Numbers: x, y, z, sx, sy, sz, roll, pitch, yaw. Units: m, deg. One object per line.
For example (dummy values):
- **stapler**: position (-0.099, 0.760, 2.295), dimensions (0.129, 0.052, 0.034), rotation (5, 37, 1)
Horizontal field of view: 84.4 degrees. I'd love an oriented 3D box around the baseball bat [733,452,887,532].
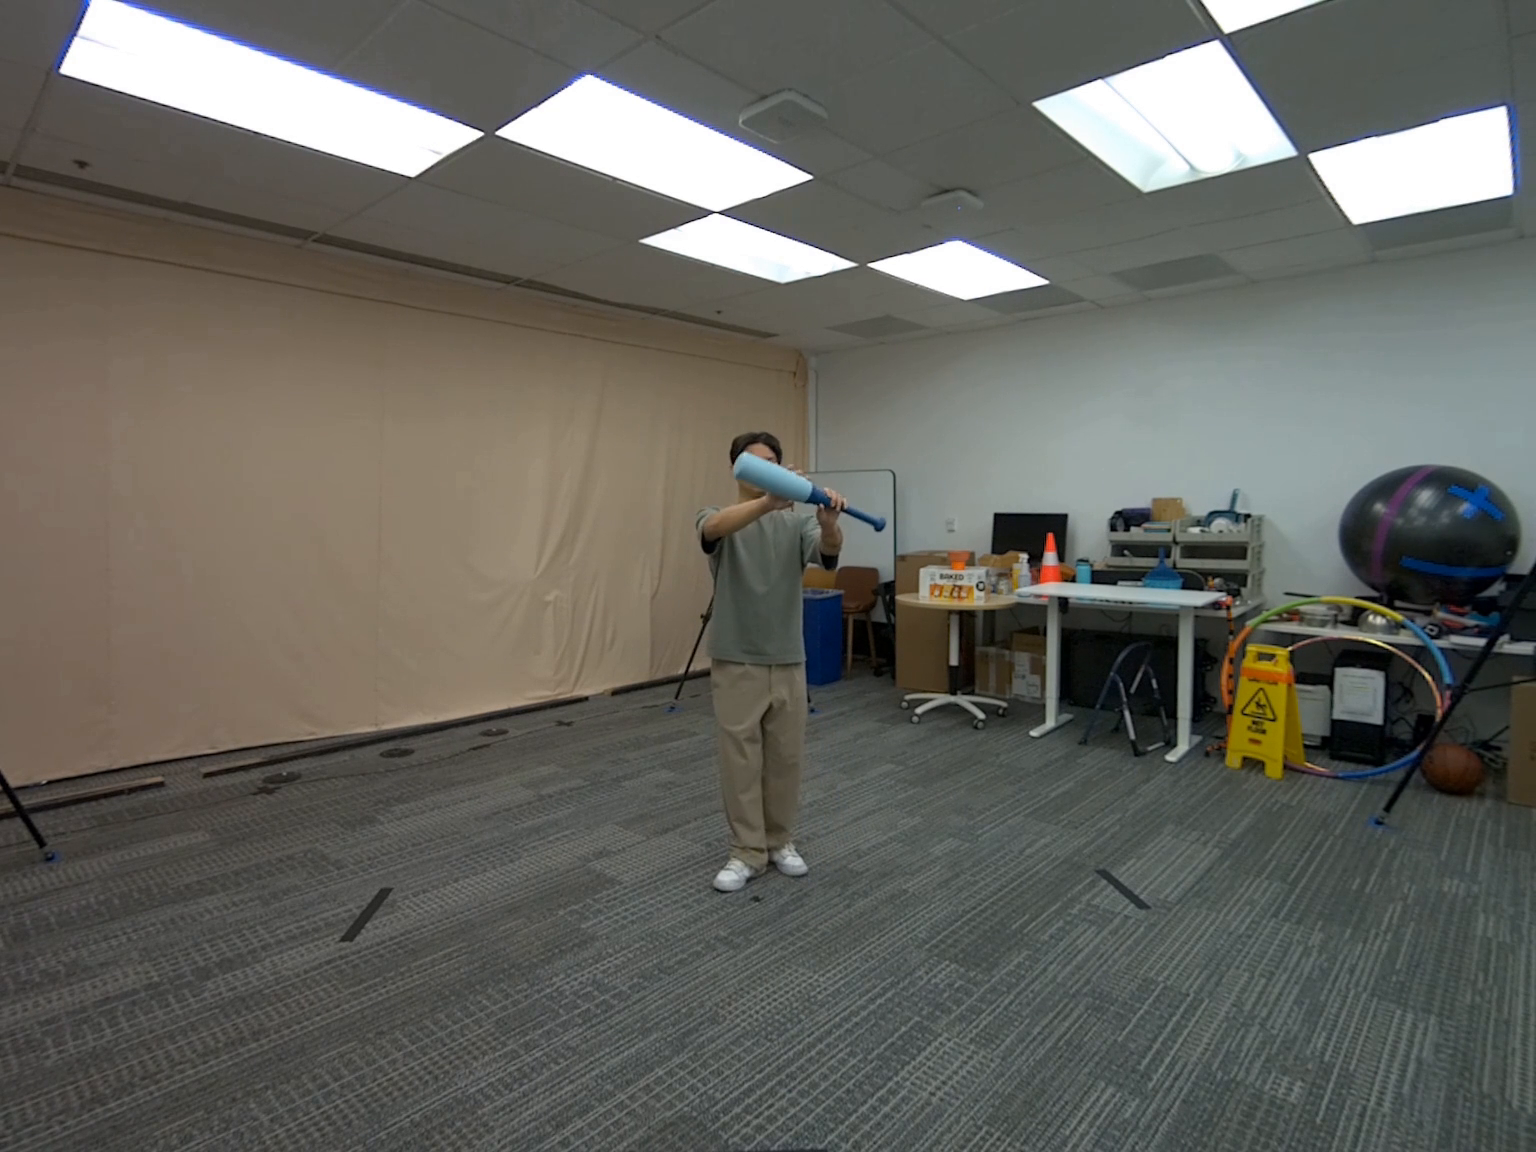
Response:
- **baseball bat**: position (0.155, -0.254, 2.665), dimensions (0.531, 0.089, 0.091), rotation (21, -4, -18)
